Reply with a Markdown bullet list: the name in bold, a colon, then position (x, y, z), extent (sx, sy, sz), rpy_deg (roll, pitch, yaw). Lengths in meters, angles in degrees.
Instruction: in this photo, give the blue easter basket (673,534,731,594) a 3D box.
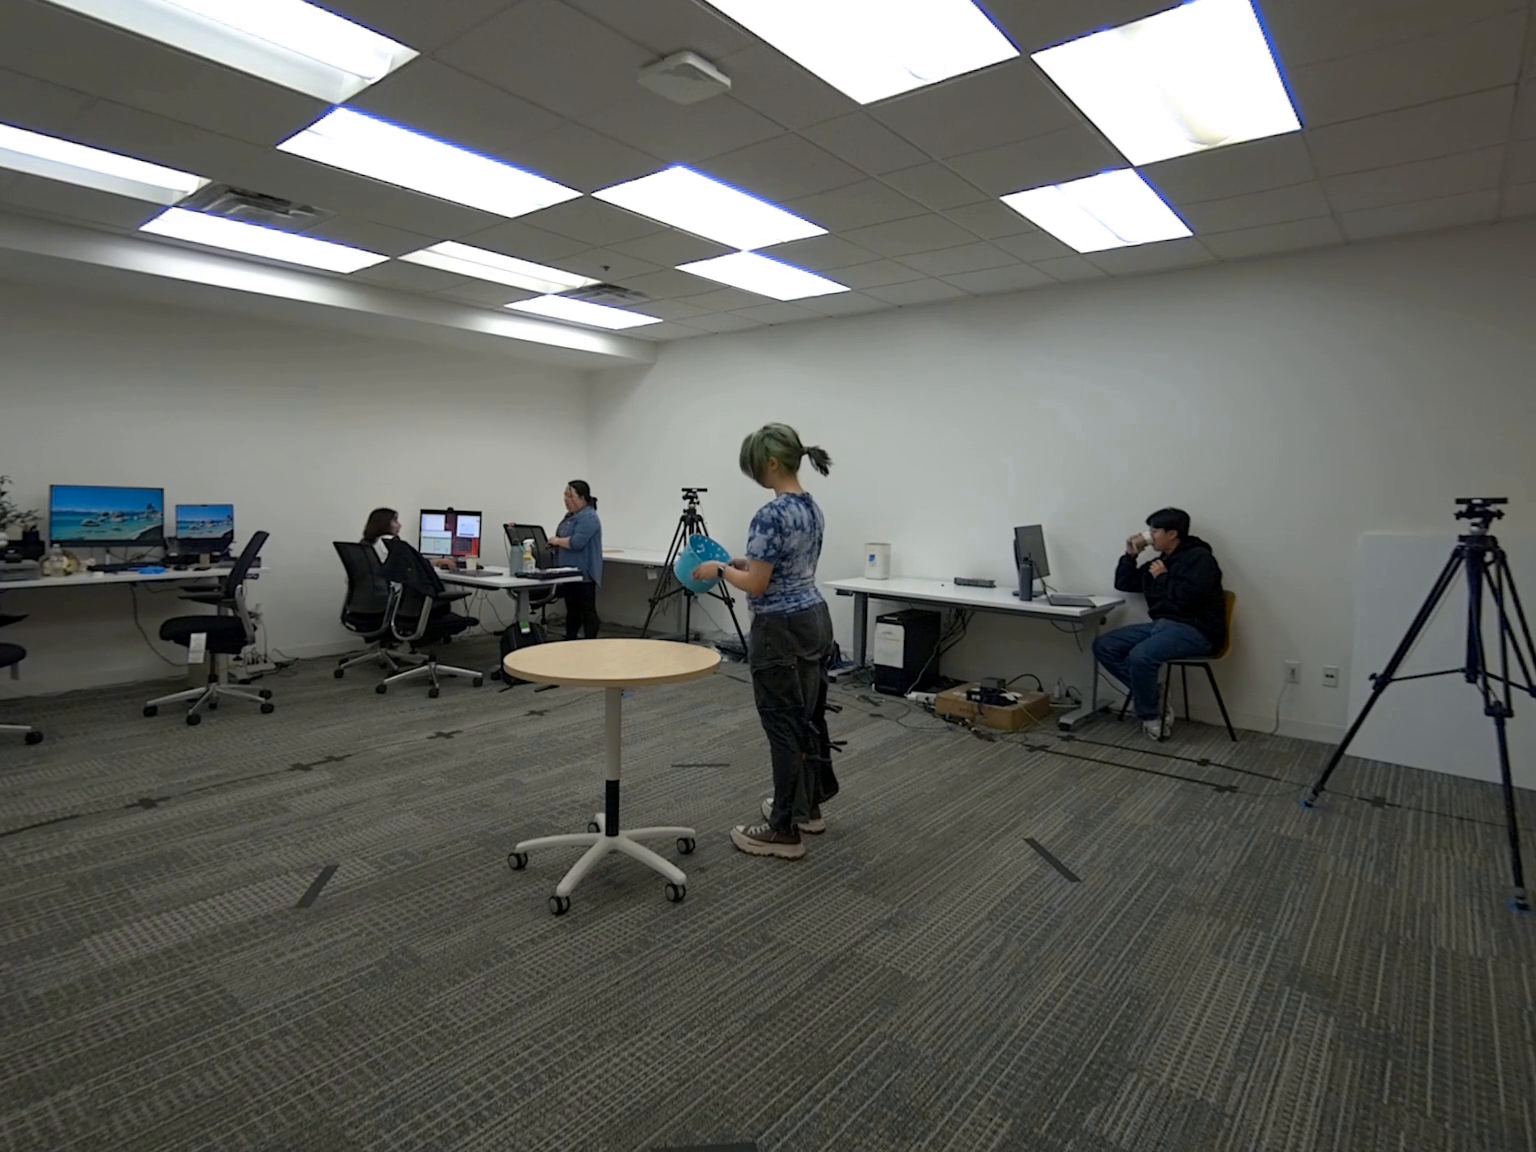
- **blue easter basket**: position (-0.289, -0.046, 3.600), extent (0.238, 0.155, 0.250), rpy_deg (29, 28, -19)
